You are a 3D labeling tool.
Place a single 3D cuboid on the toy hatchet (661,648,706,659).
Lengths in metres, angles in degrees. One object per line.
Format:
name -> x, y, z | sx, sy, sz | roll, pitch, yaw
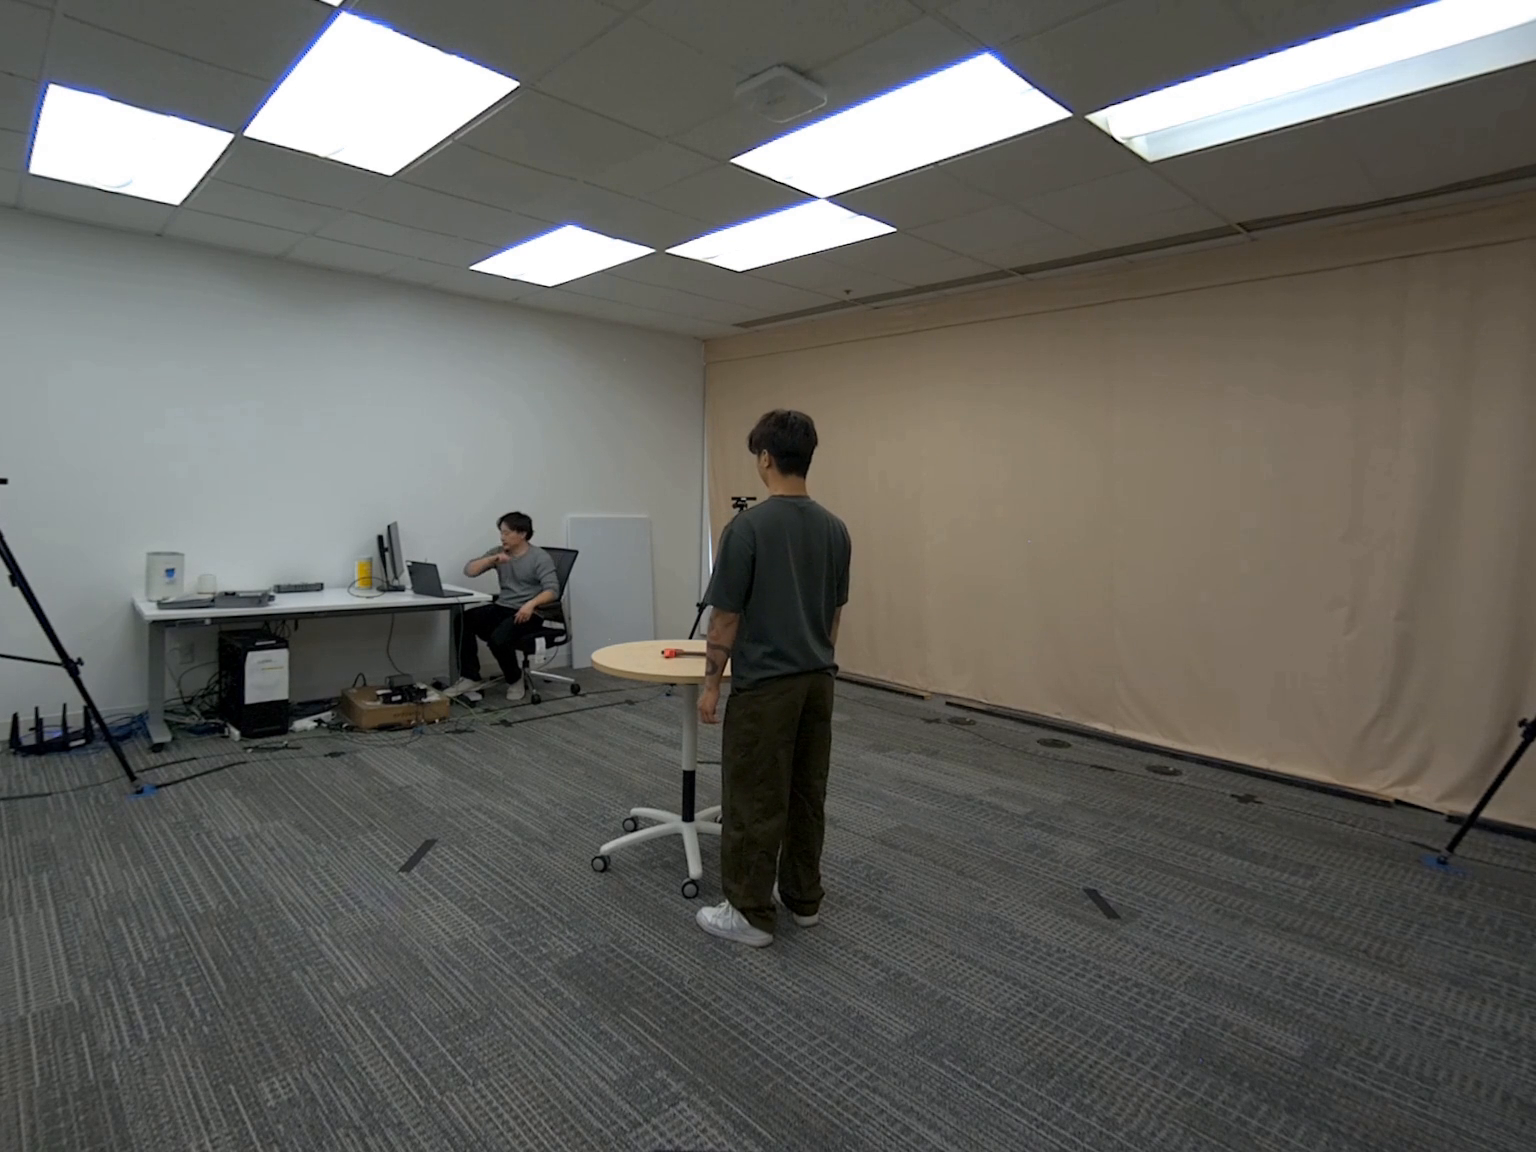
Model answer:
toy hatchet -> -0.298, 0.299, 3.238 | 0.266, 0.029, 0.133 | 2, 0, -17
